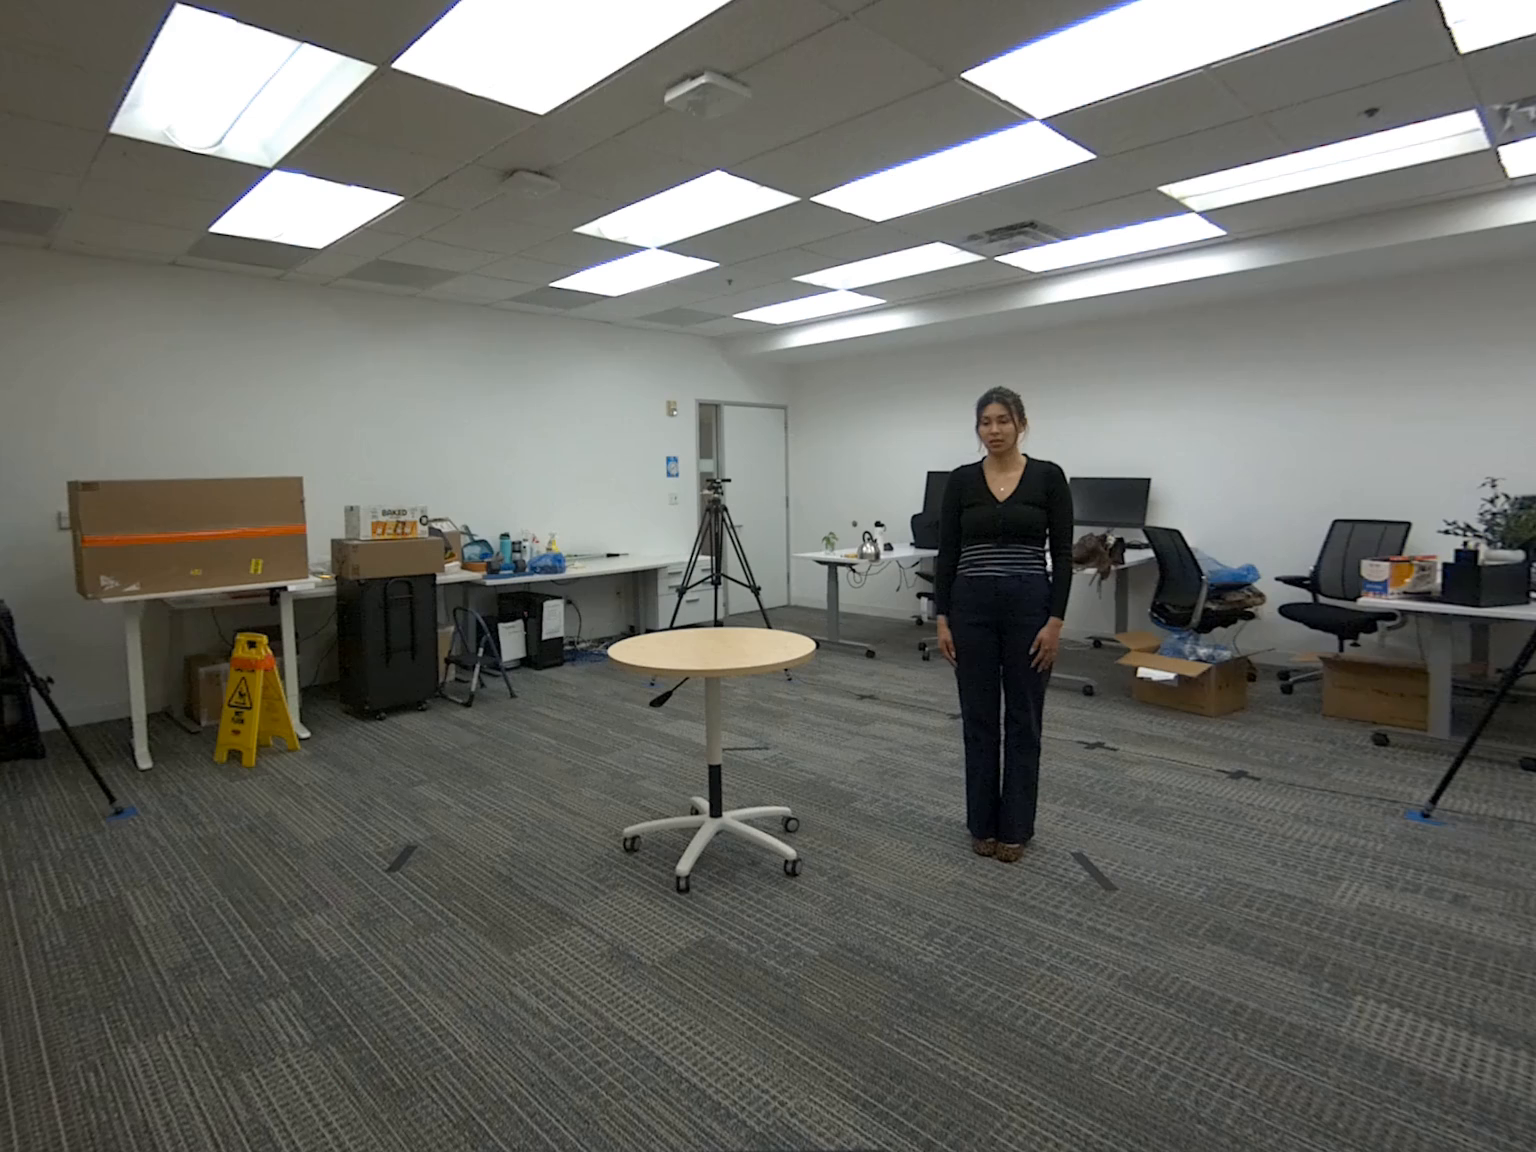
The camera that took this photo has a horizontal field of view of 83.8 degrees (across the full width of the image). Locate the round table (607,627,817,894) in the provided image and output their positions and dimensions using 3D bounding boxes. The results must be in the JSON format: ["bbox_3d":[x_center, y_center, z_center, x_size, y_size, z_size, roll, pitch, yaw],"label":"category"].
[{"bbox_3d":[-0.190,0.650,3.174,0.763,0.791,0.768,-1,5,-2],"label":"round table"}]
